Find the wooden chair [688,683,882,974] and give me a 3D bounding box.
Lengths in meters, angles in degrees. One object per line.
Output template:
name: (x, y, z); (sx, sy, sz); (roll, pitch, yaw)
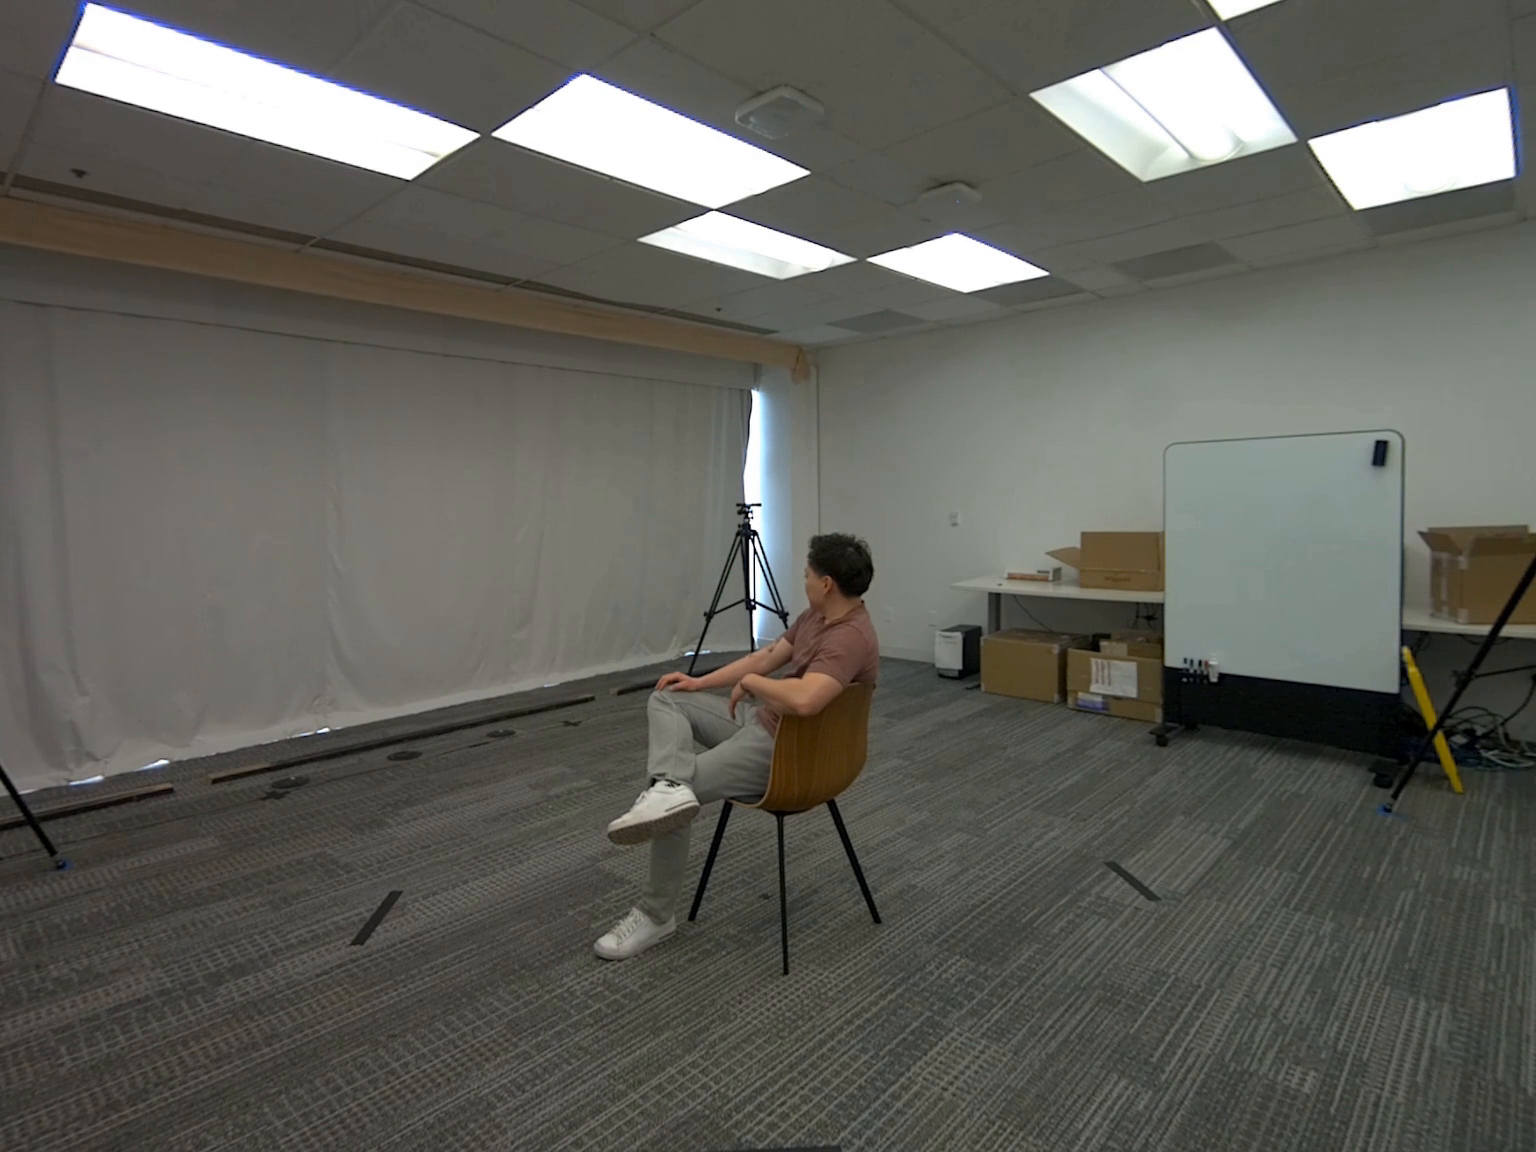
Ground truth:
wooden chair: (0.047, 0.726, 2.778); (0.463, 0.874, 0.541); (-4, 9, -43)
